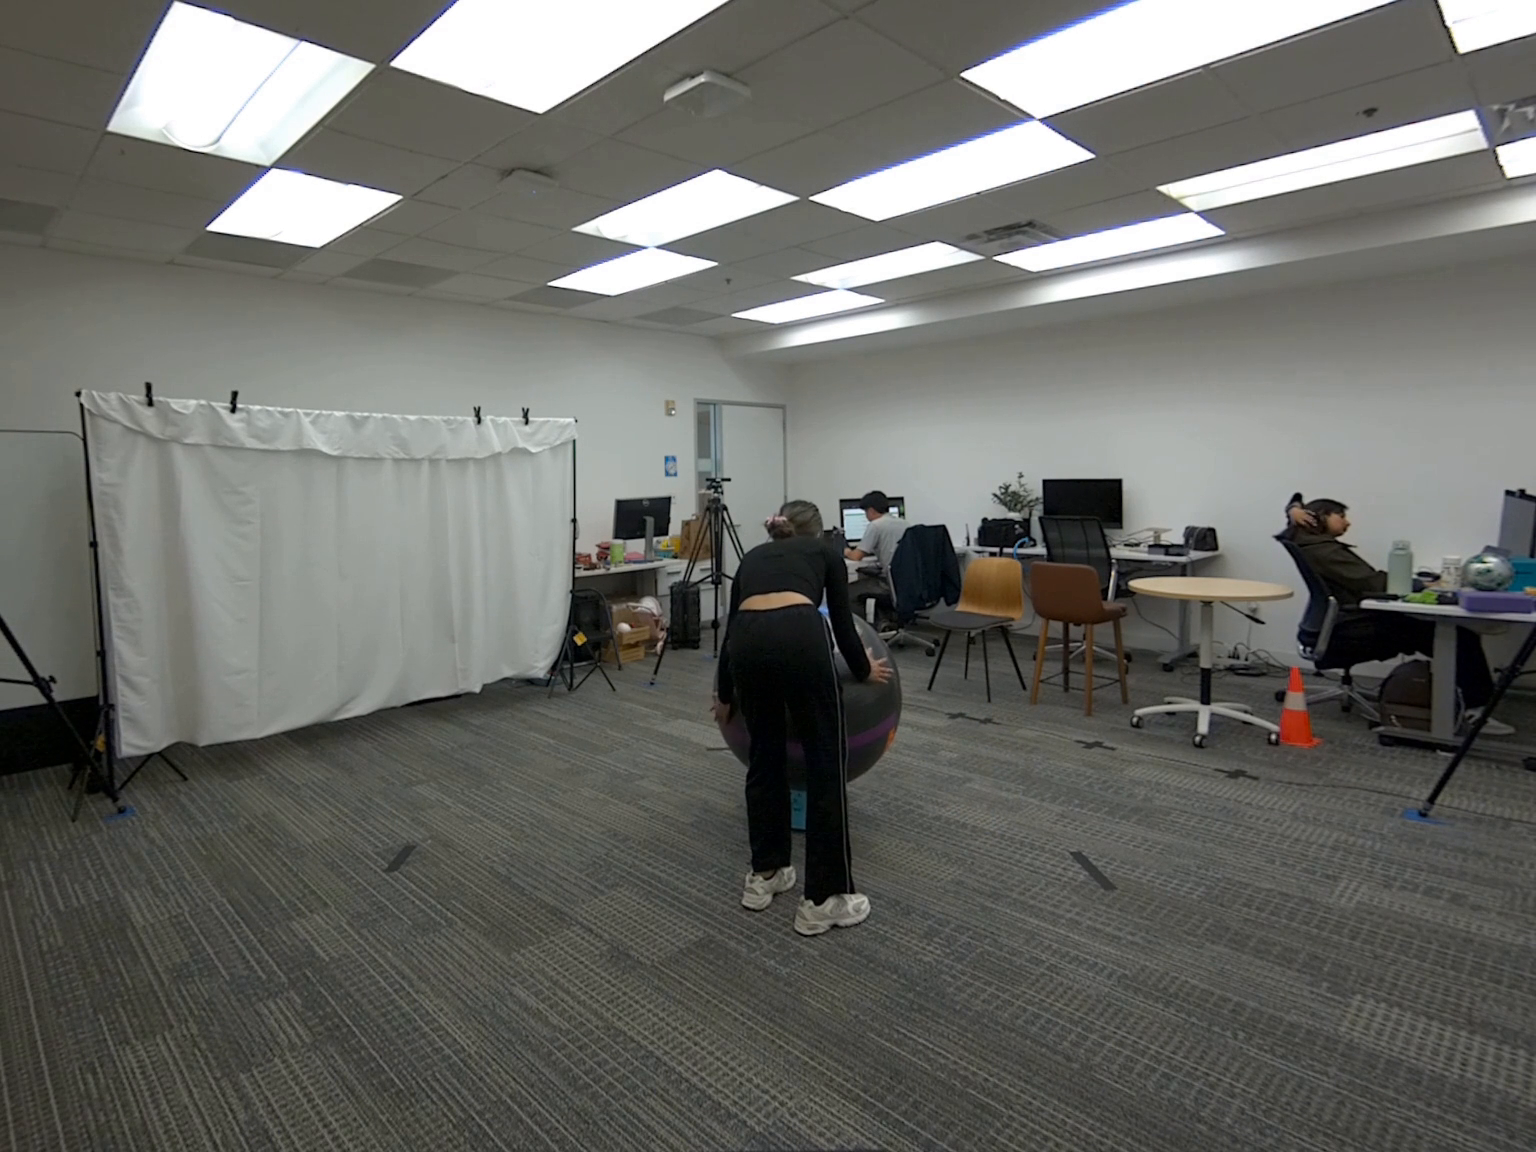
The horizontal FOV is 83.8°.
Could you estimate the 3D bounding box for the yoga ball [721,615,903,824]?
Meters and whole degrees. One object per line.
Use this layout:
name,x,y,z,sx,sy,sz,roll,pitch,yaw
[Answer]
yoga ball,0.157,0.484,3.459,0.757,0.755,0.762,-1,5,-2
